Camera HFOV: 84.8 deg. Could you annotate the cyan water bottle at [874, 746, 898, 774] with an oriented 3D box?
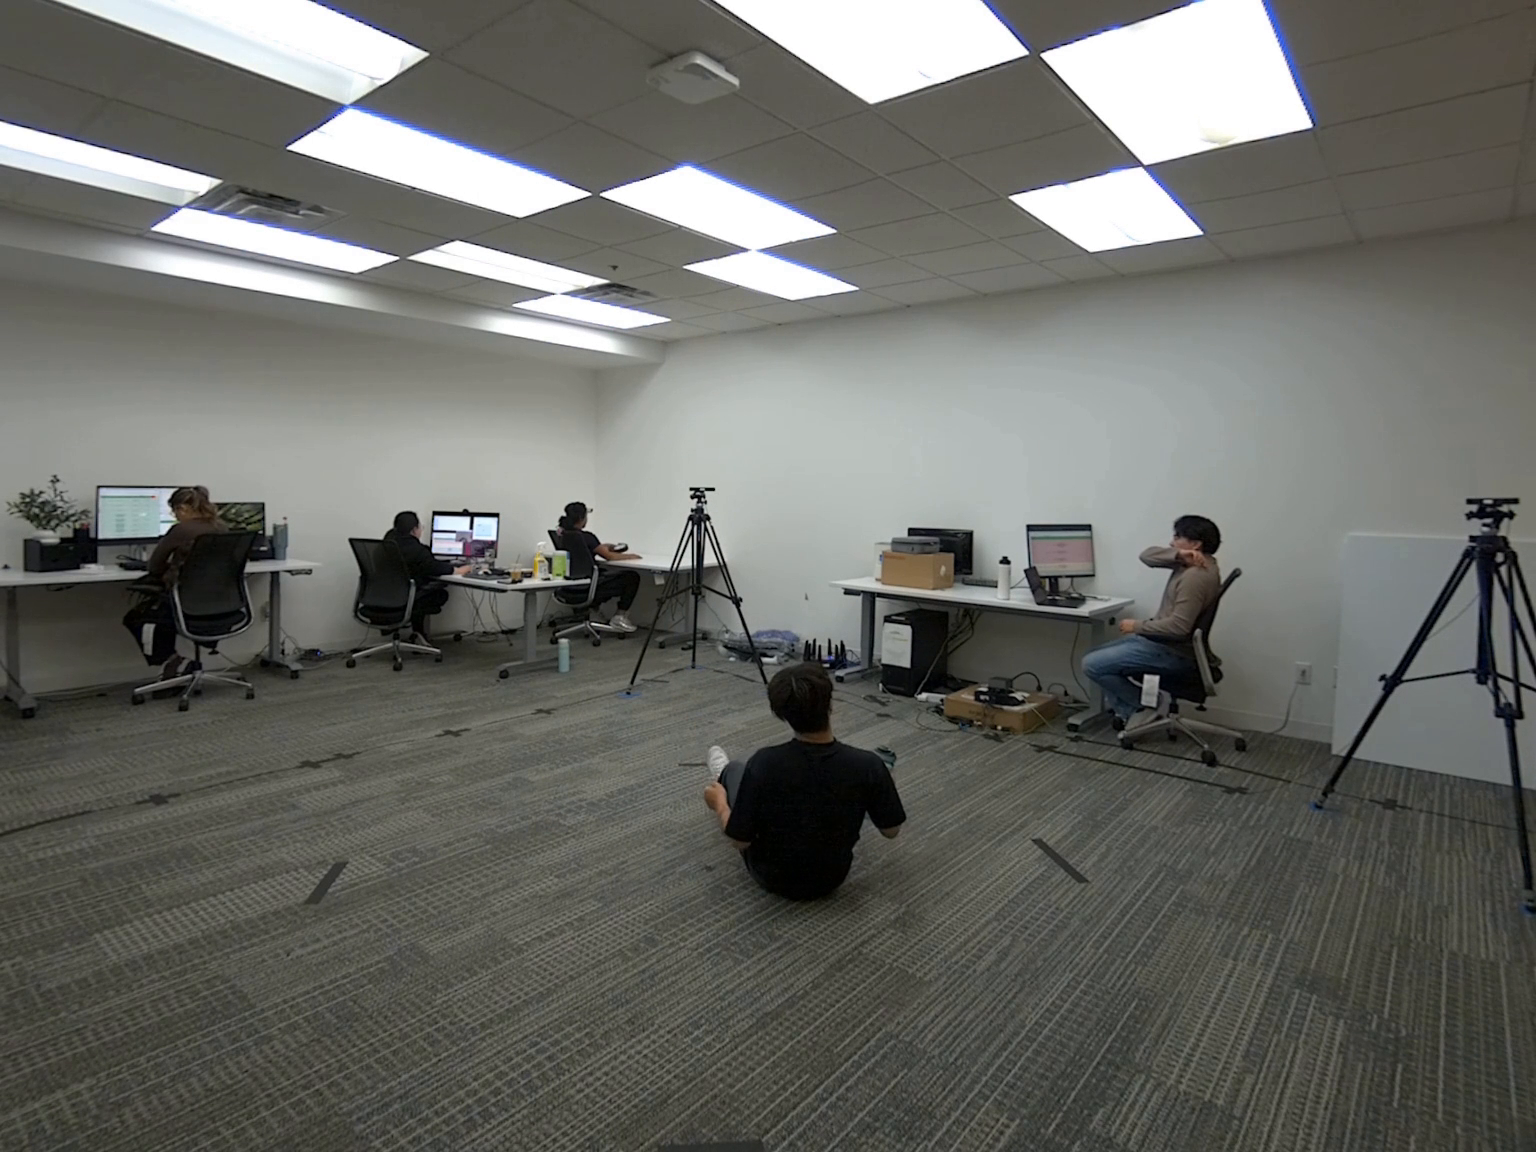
[{"bbox_3d":[0.398,0.782,3.274,0.092,0.284,0.092,23,-6,0],"label":"cyan water bottle"}]
